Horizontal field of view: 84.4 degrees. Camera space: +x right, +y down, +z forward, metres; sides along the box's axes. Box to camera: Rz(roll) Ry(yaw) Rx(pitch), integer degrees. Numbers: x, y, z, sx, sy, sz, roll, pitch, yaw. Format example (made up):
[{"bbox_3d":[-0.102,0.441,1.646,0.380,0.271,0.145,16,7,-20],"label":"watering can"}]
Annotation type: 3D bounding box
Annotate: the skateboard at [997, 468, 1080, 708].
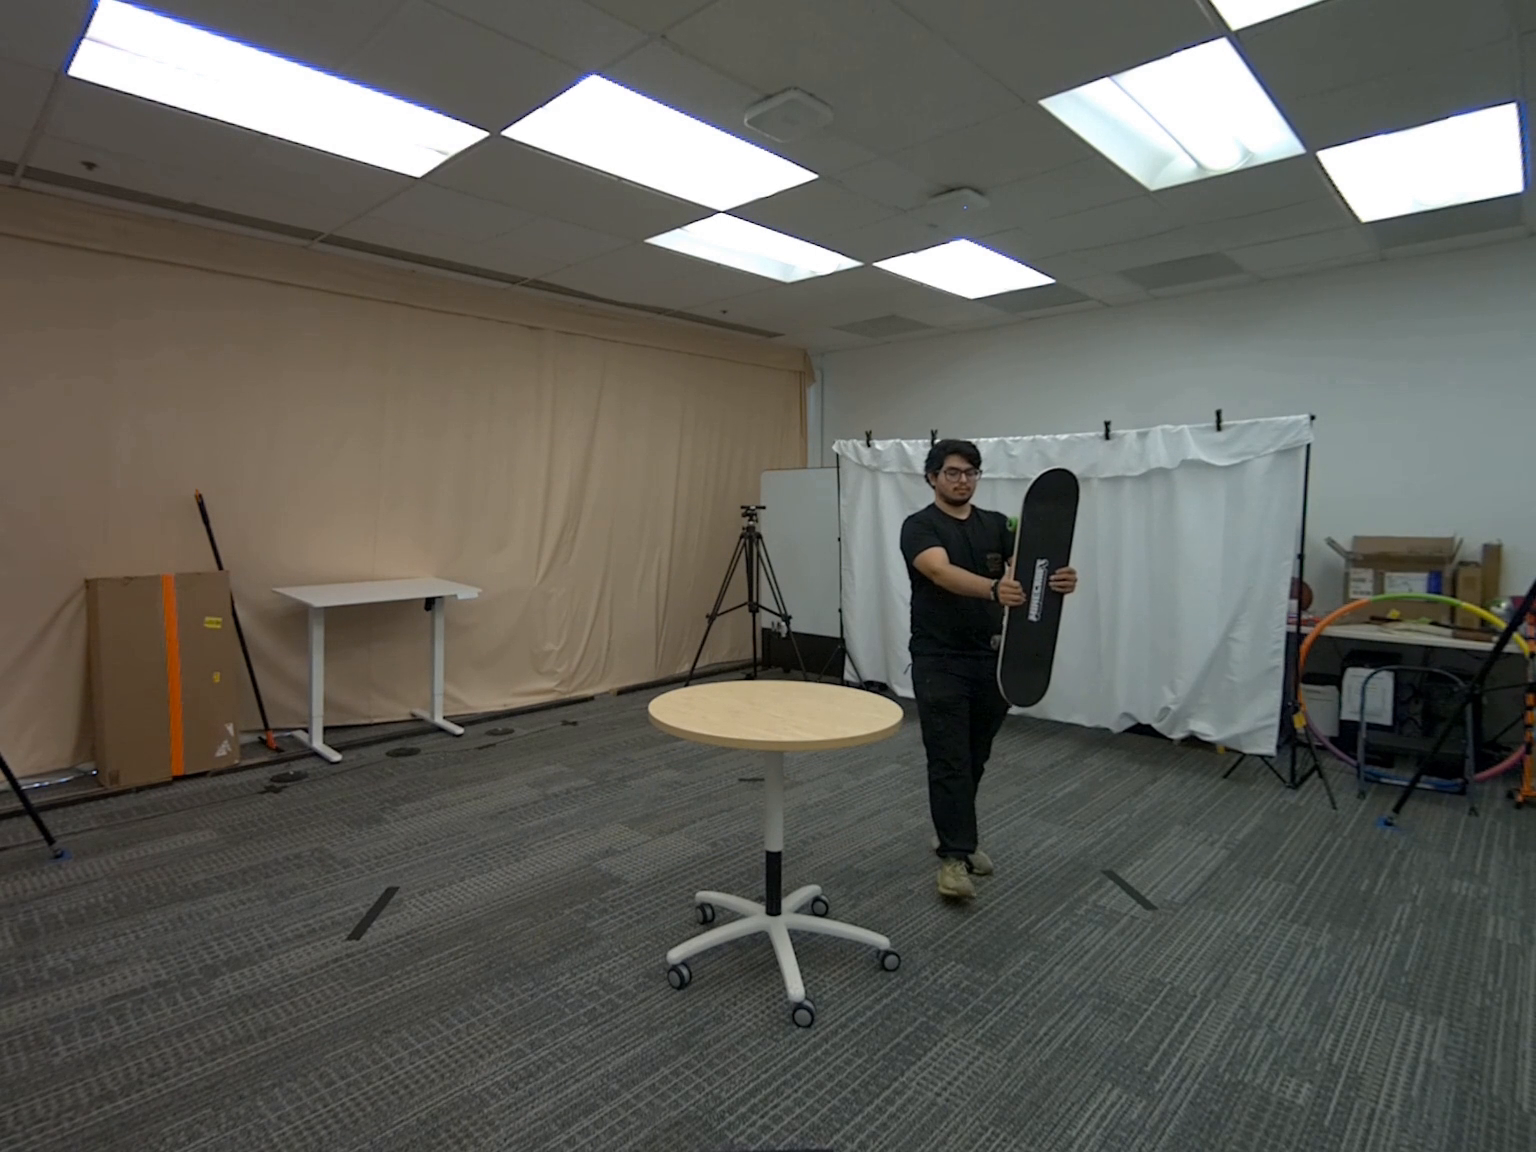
[{"bbox_3d":[0.847,0.037,2.700,0.191,0.779,0.113,0,14,-14],"label":"skateboard"}]
